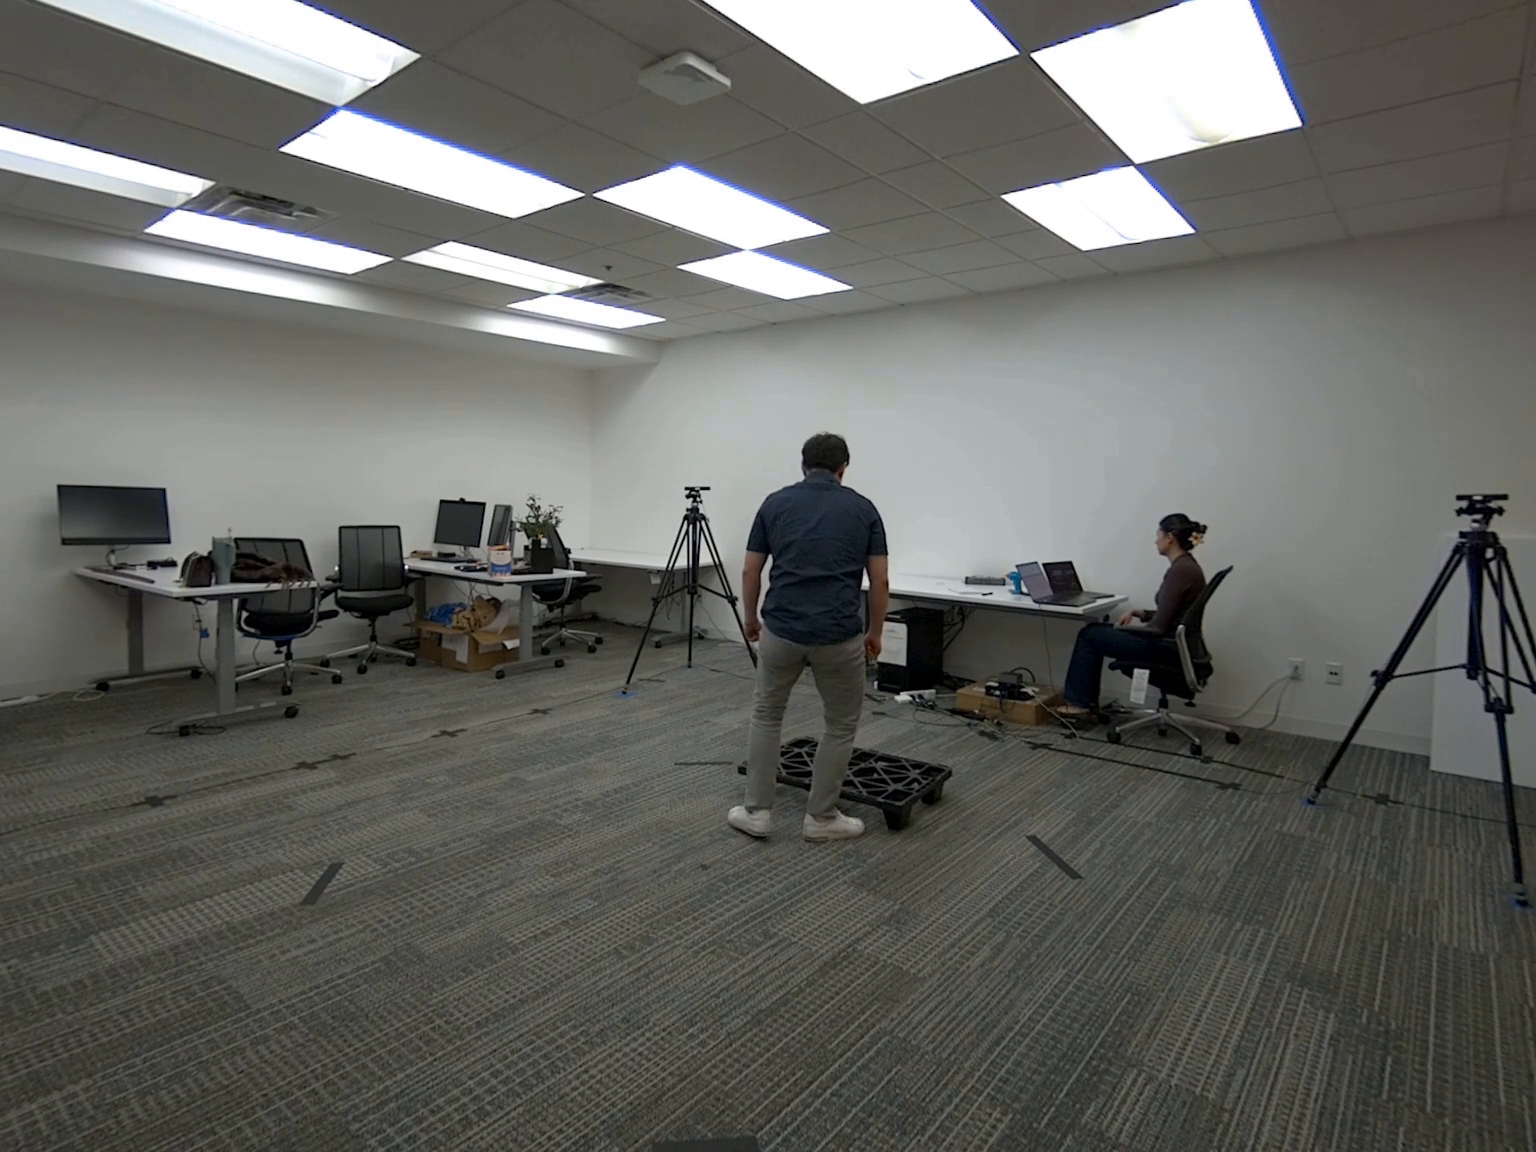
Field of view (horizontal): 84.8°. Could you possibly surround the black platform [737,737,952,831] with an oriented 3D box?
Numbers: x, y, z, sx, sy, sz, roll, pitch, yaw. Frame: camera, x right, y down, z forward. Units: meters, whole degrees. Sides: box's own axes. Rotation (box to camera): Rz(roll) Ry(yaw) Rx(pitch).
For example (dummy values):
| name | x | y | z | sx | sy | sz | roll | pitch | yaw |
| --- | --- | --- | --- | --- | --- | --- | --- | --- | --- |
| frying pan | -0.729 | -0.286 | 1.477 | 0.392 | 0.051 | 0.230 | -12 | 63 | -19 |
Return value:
| name | x | y | z | sx | sy | sz | roll | pitch | yaw |
| --- | --- | --- | --- | --- | --- | --- | --- | --- | --- |
| black platform | 0.346 | 0.931 | 3.889 | 0.831 | 0.143 | 0.588 | 5 | 6 | 34 |
